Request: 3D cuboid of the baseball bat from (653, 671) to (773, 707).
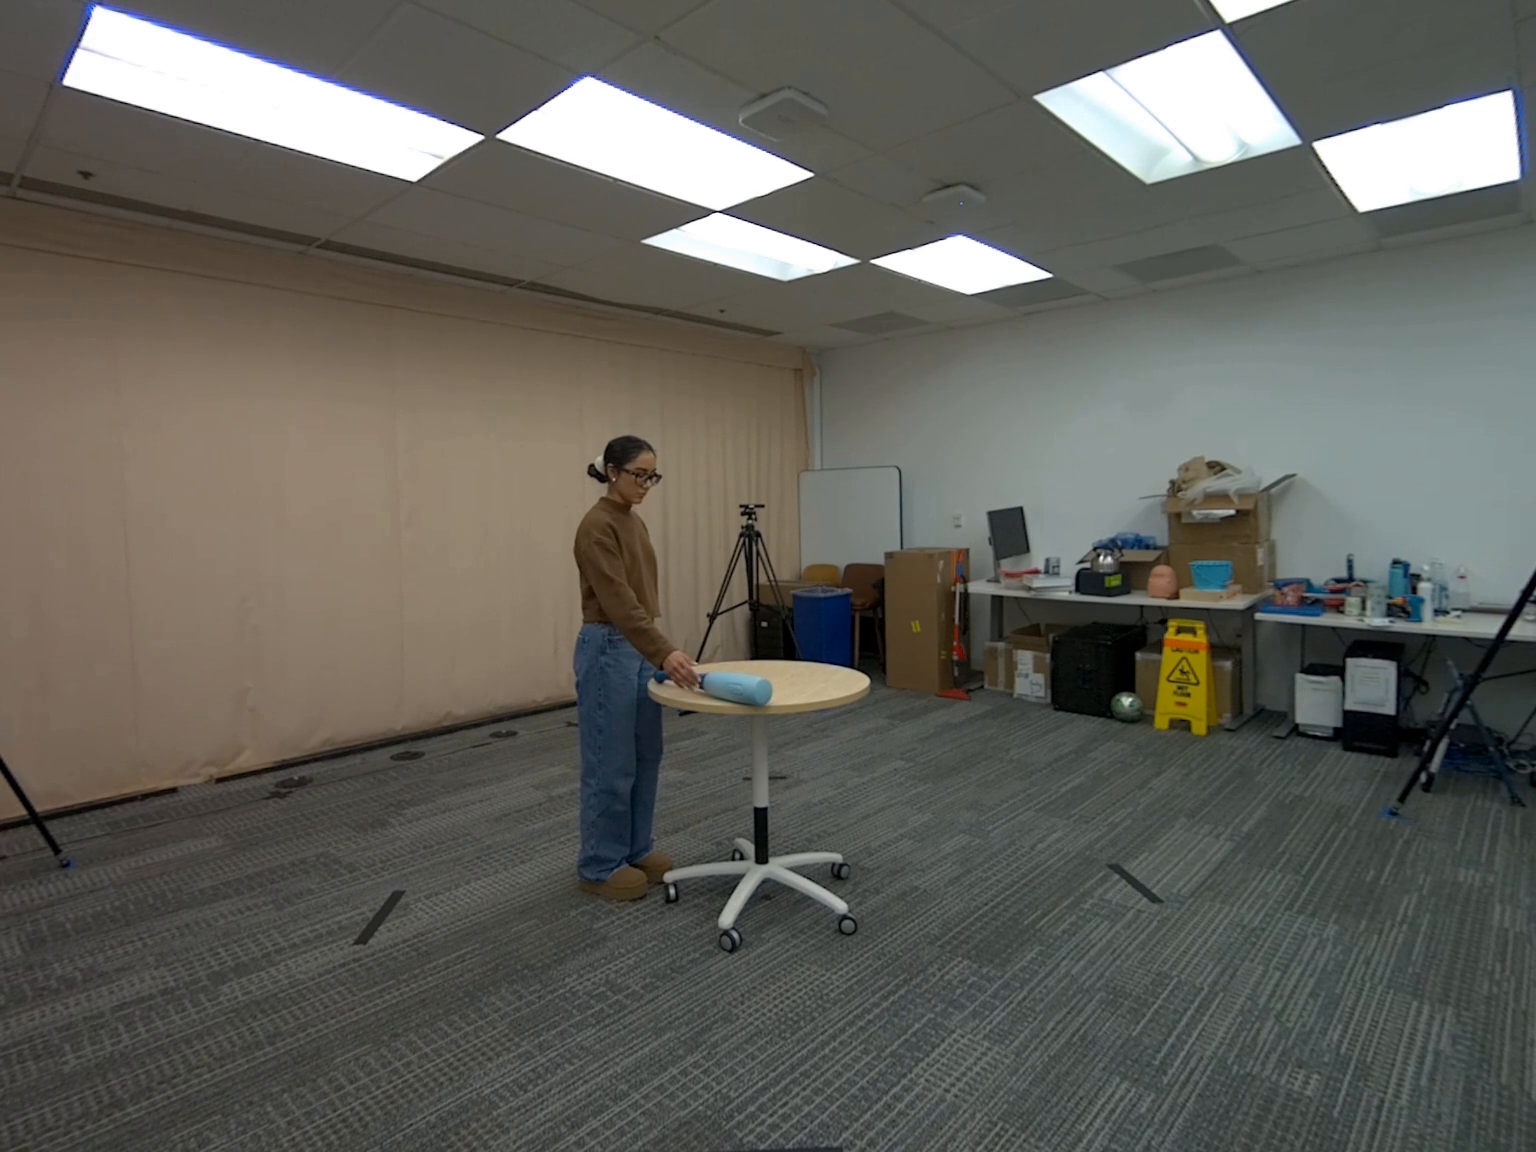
[{"bbox_3d":[-0.200,0.350,2.706,0.086,0.089,0.560,-4,3,-42],"label":"baseball bat"}]
